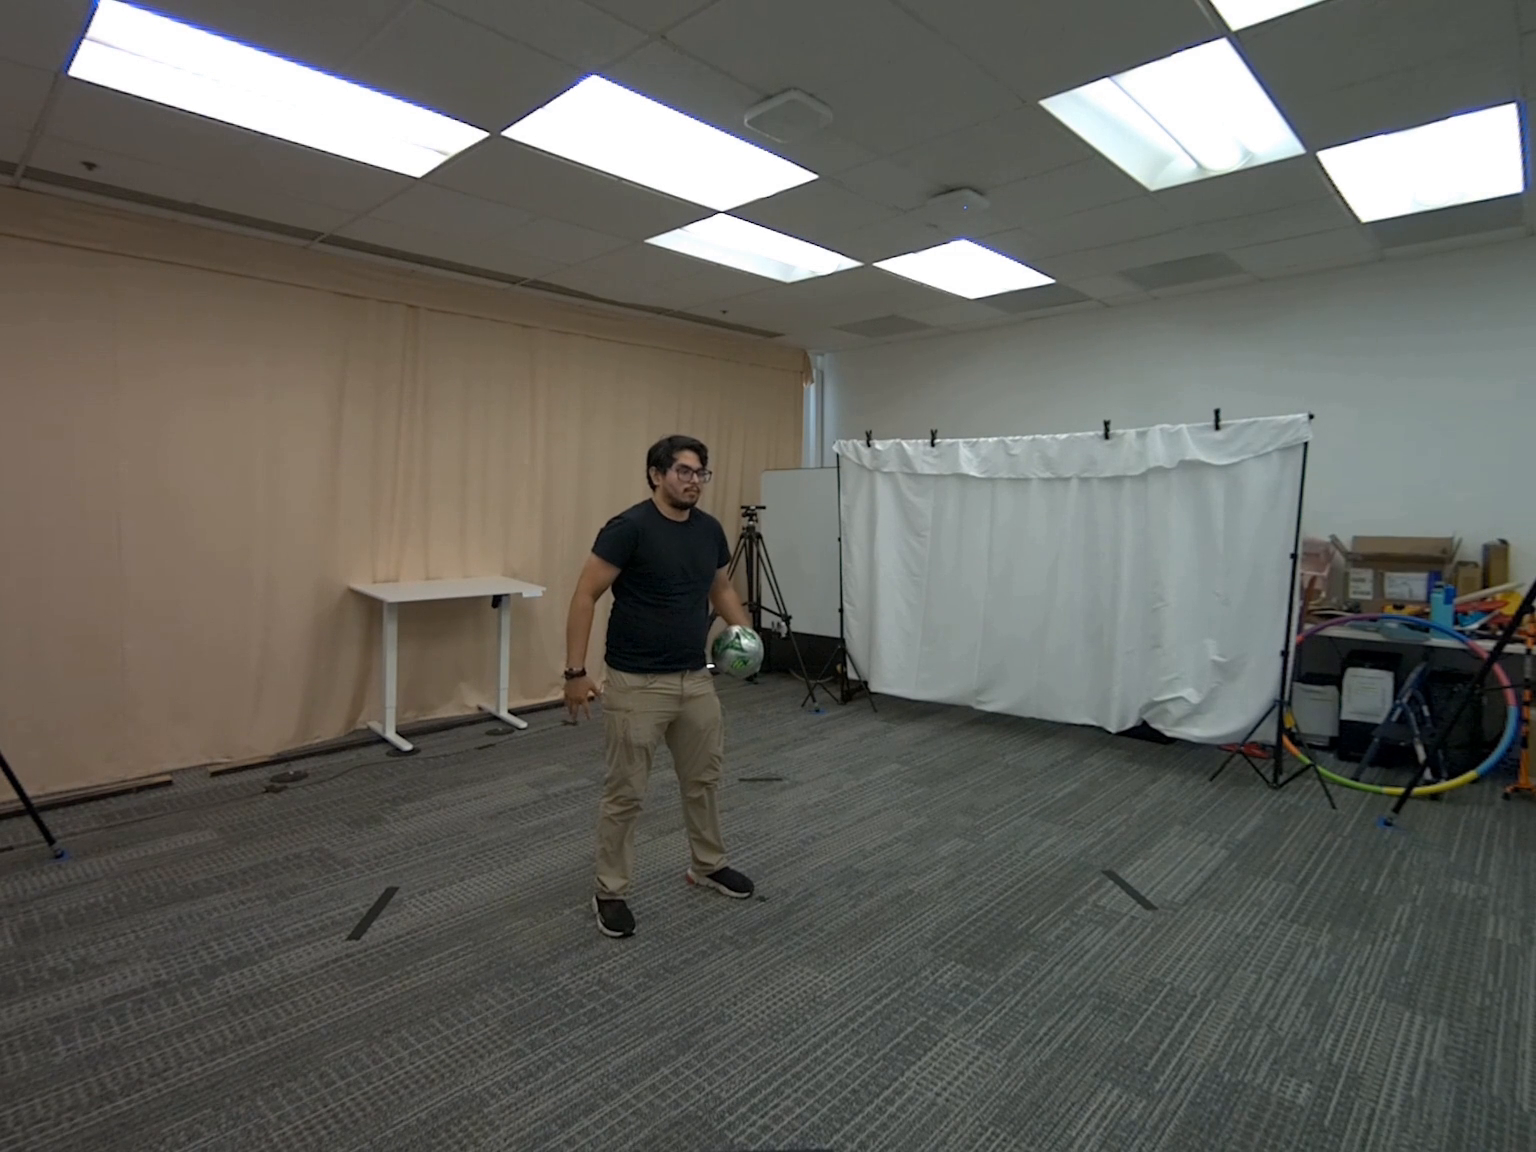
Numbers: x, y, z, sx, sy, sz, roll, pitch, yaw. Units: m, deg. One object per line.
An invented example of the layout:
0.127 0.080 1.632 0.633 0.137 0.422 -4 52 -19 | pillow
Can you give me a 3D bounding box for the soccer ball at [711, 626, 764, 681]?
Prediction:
-0.107 0.267 2.946 0.187 0.187 0.188 0 4 -2 | soccer ball
